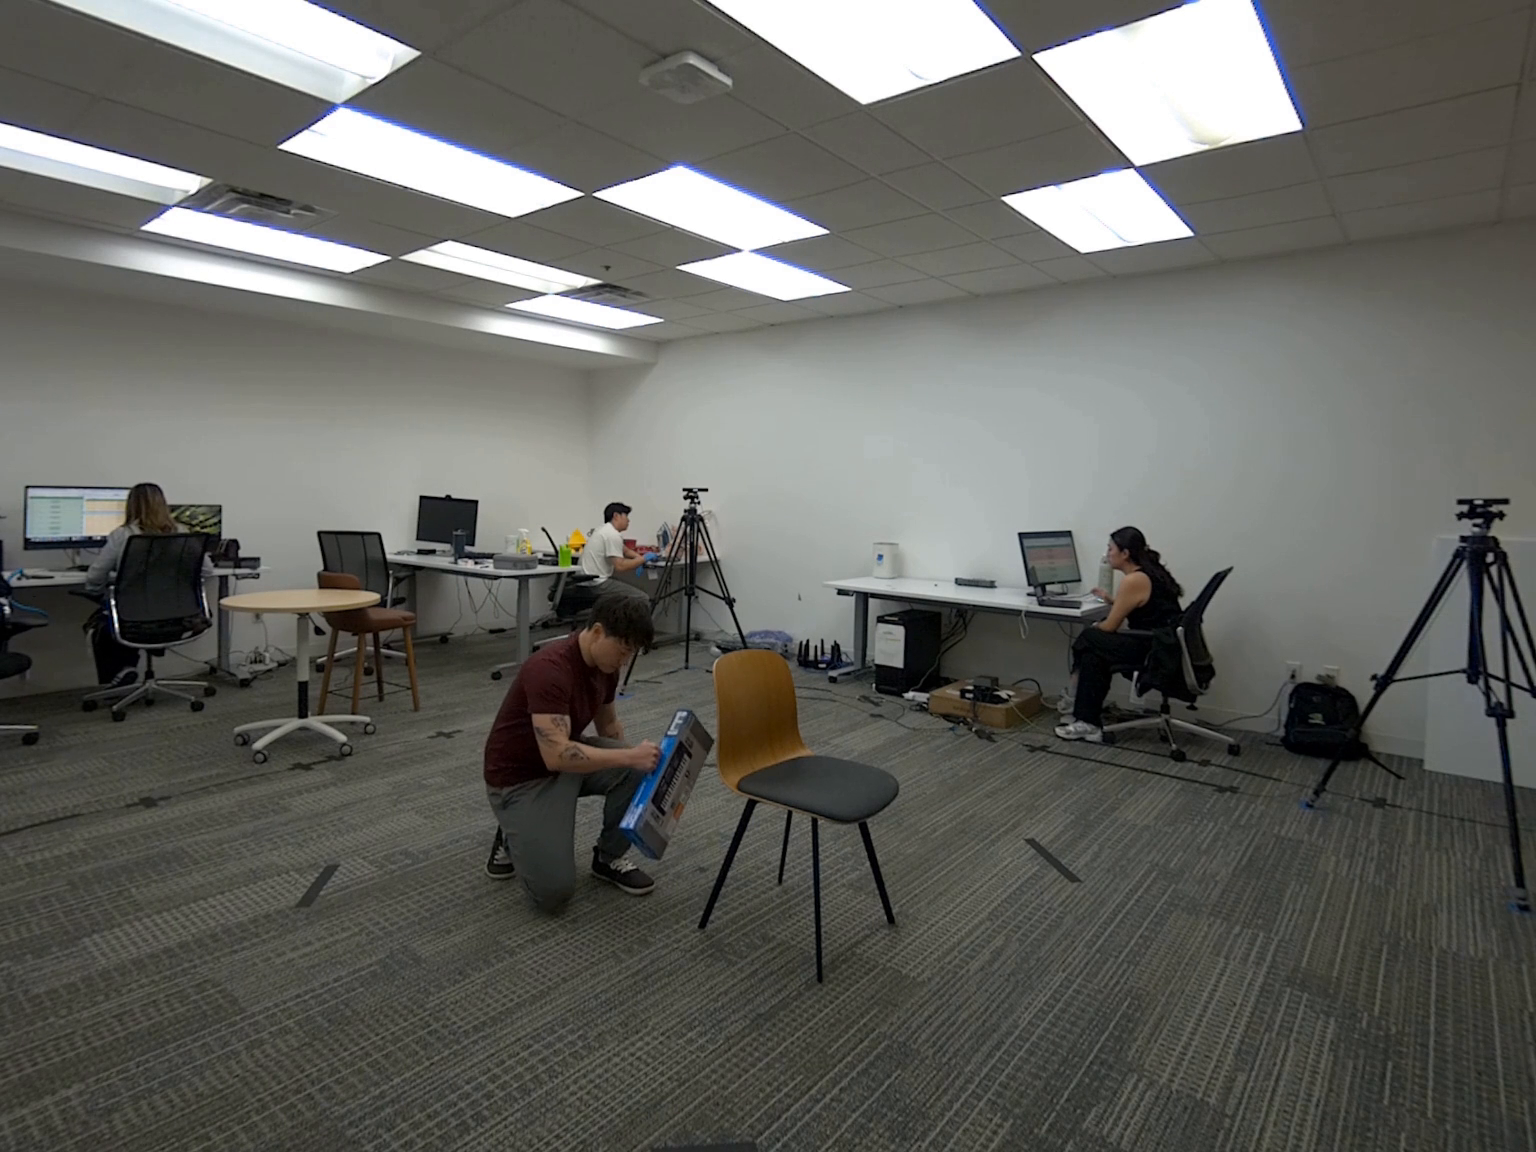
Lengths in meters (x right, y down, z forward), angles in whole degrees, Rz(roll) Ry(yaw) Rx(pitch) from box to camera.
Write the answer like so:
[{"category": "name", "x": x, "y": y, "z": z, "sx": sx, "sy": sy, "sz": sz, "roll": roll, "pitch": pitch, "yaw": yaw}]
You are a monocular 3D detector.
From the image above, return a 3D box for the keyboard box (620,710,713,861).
[{"category": "keyboard box", "x": -0.320, "y": 0.658, "z": 2.695, "sx": 0.061, "sy": 0.169, "sz": 0.441, "roll": -5, "pitch": 42, "yaw": 35}]
